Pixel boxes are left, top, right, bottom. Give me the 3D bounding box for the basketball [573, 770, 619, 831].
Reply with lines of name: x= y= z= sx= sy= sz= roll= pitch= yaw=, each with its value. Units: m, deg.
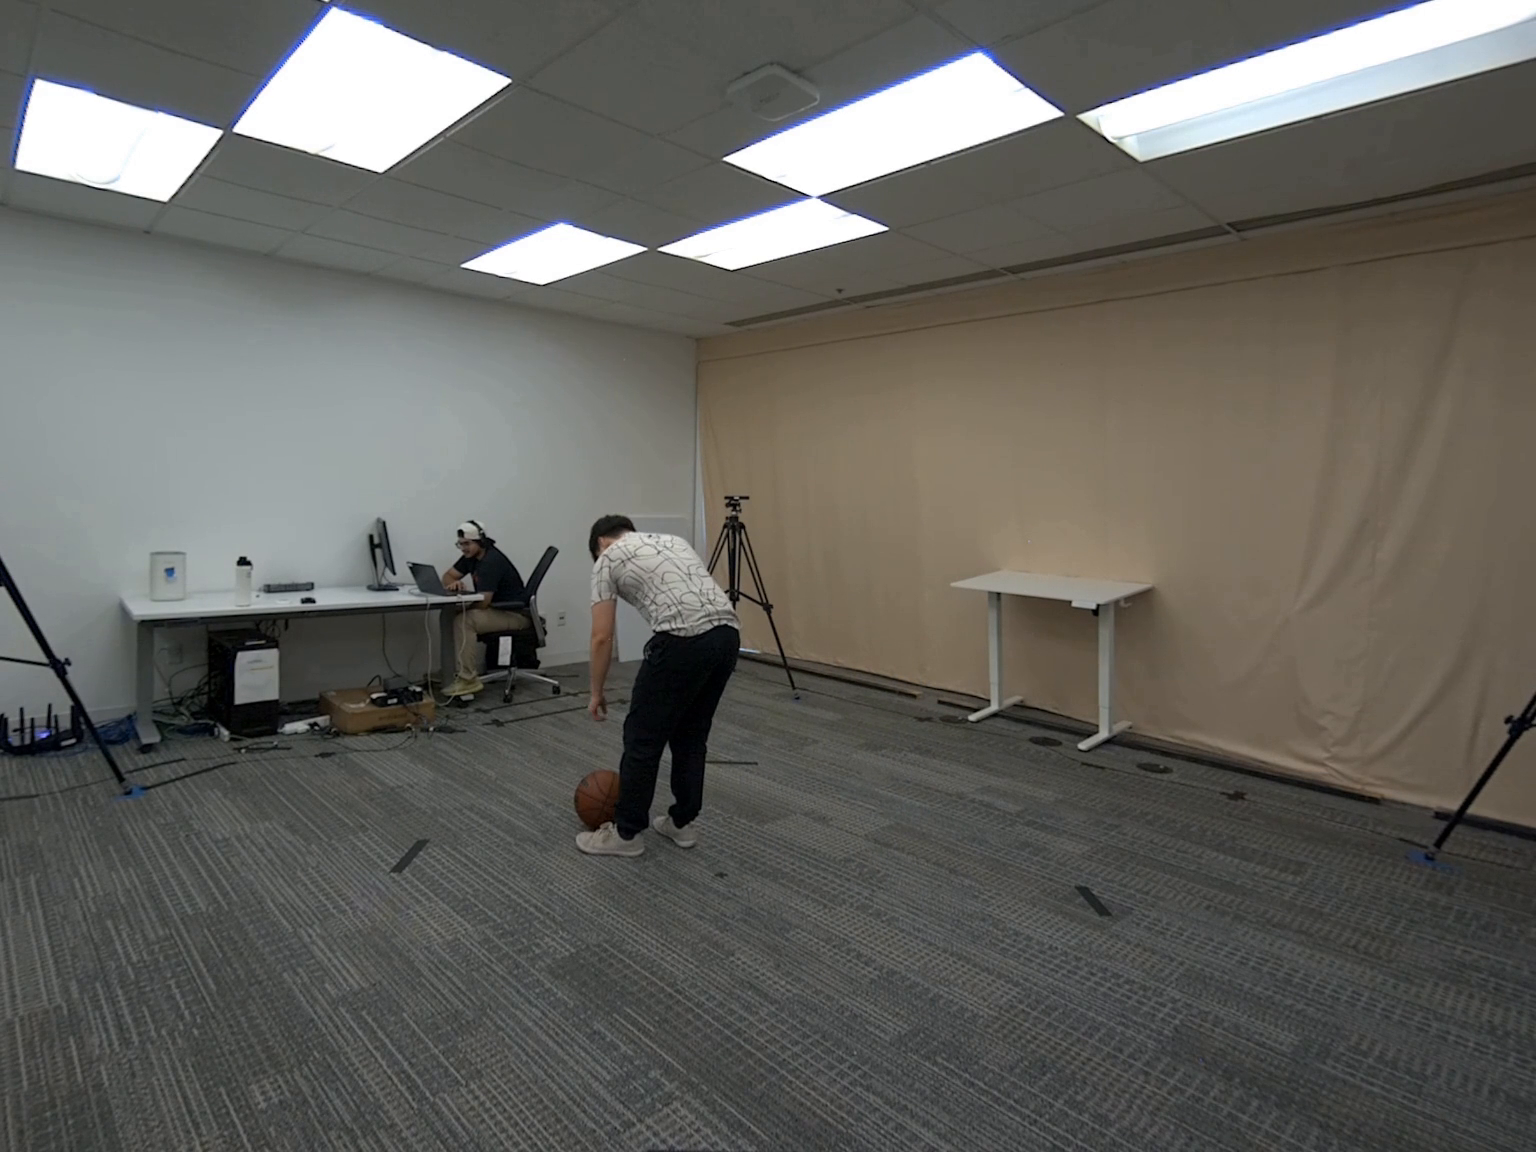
basketball: x=-0.702 y=0.934 z=3.523 sx=0.236 sy=0.235 sz=0.237 roll=1 pitch=4 yaw=-1
